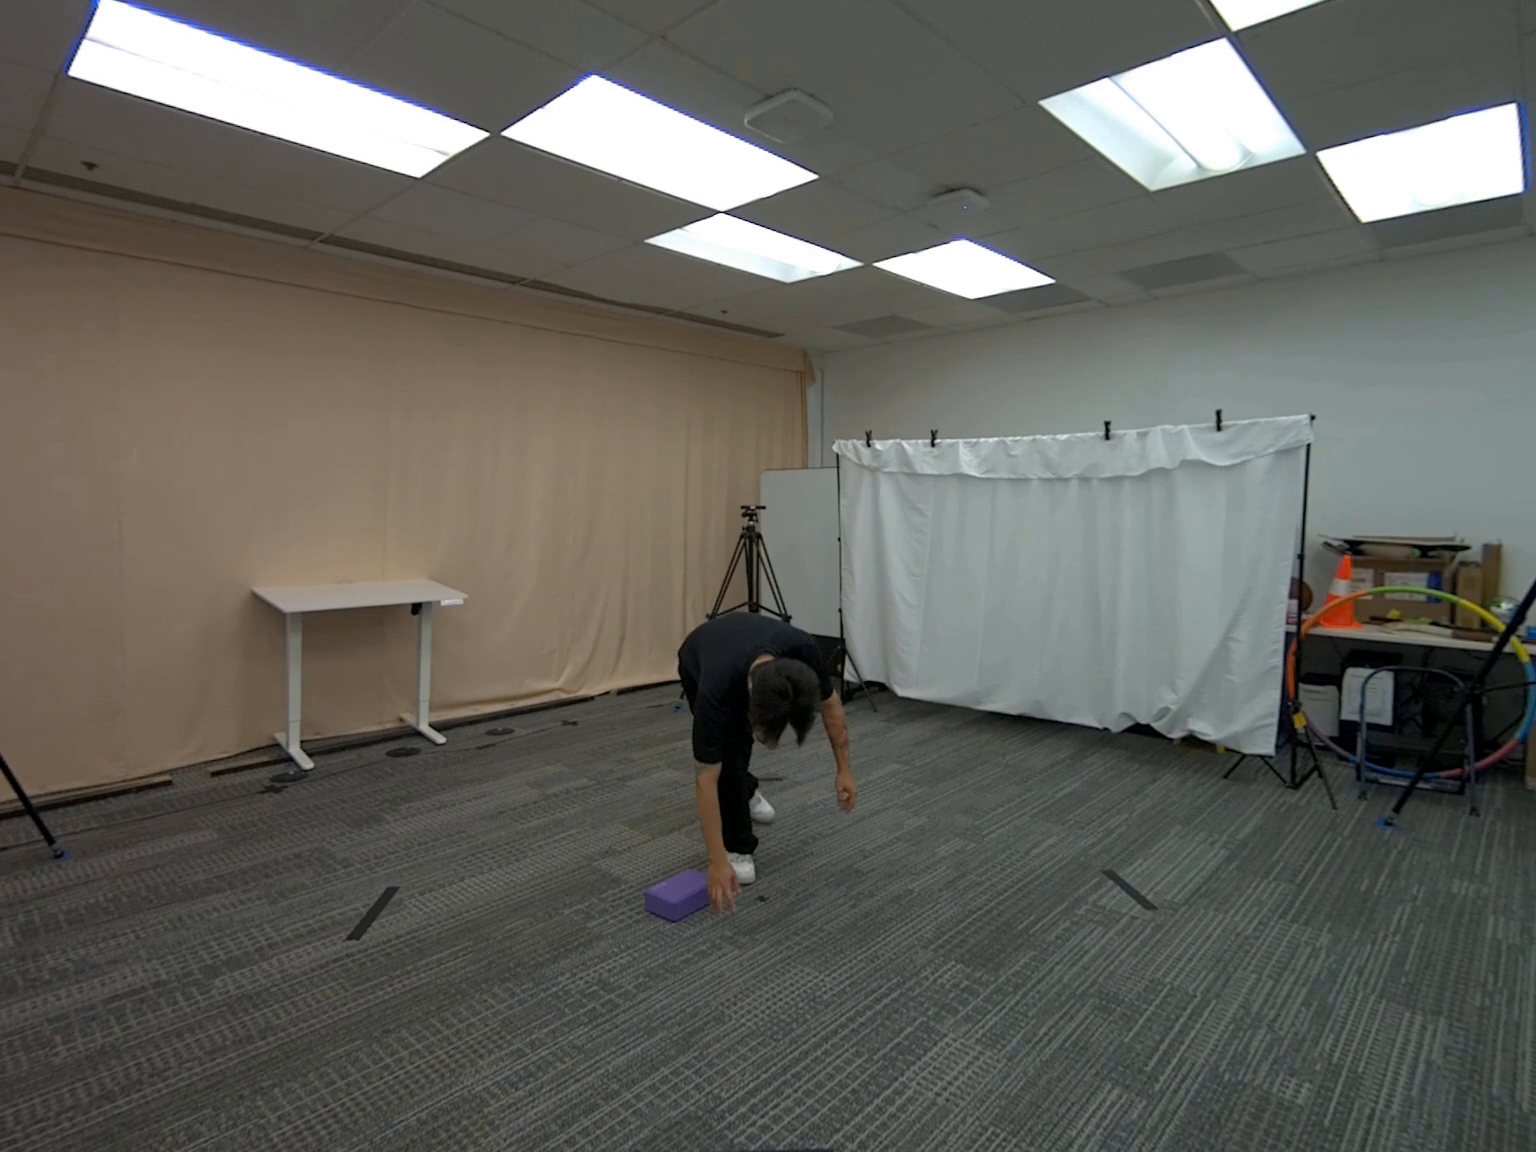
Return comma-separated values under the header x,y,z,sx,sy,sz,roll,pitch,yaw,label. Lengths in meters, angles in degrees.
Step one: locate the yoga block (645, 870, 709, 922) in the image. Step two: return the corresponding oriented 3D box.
x,y,z,sx,sy,sz,roll,pitch,yaw,label
-0.299,1.109,2.929,0.154,0.076,0.222,3,6,38,yoga block
